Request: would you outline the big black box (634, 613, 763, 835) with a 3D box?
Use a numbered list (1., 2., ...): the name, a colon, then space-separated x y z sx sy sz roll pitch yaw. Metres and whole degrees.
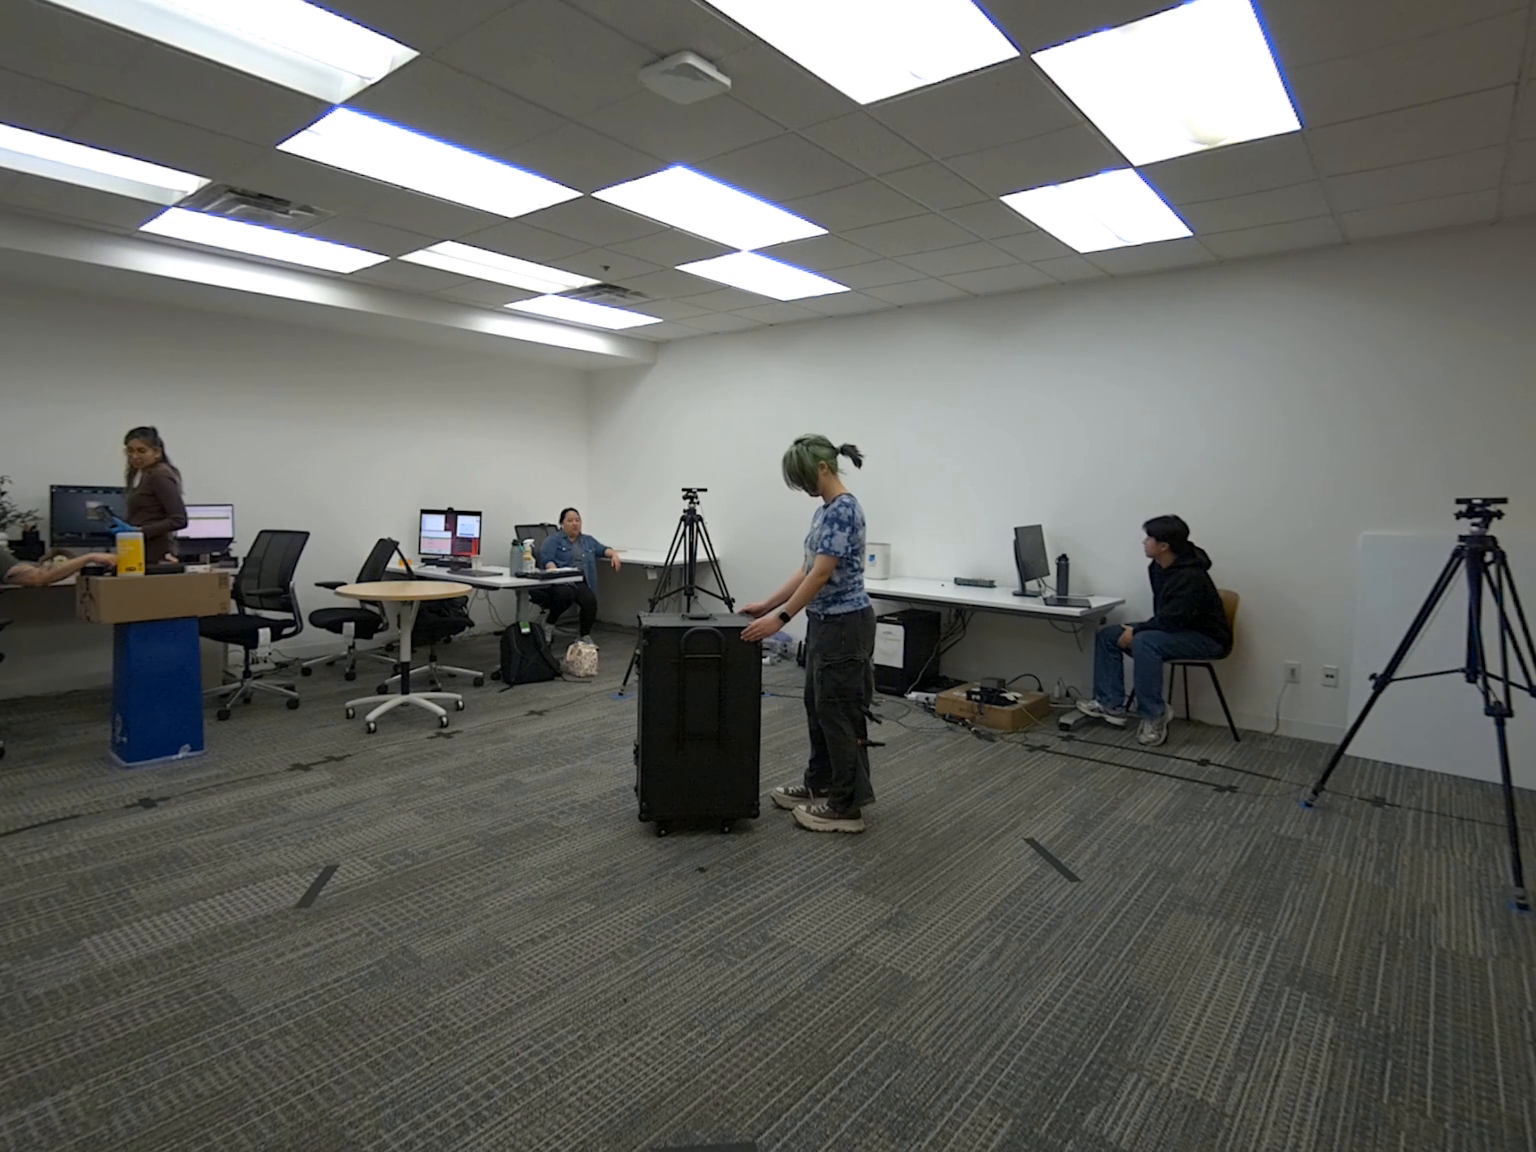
1. big black box: -0.304 0.615 3.540 0.517 0.858 0.401 1 4 -9
